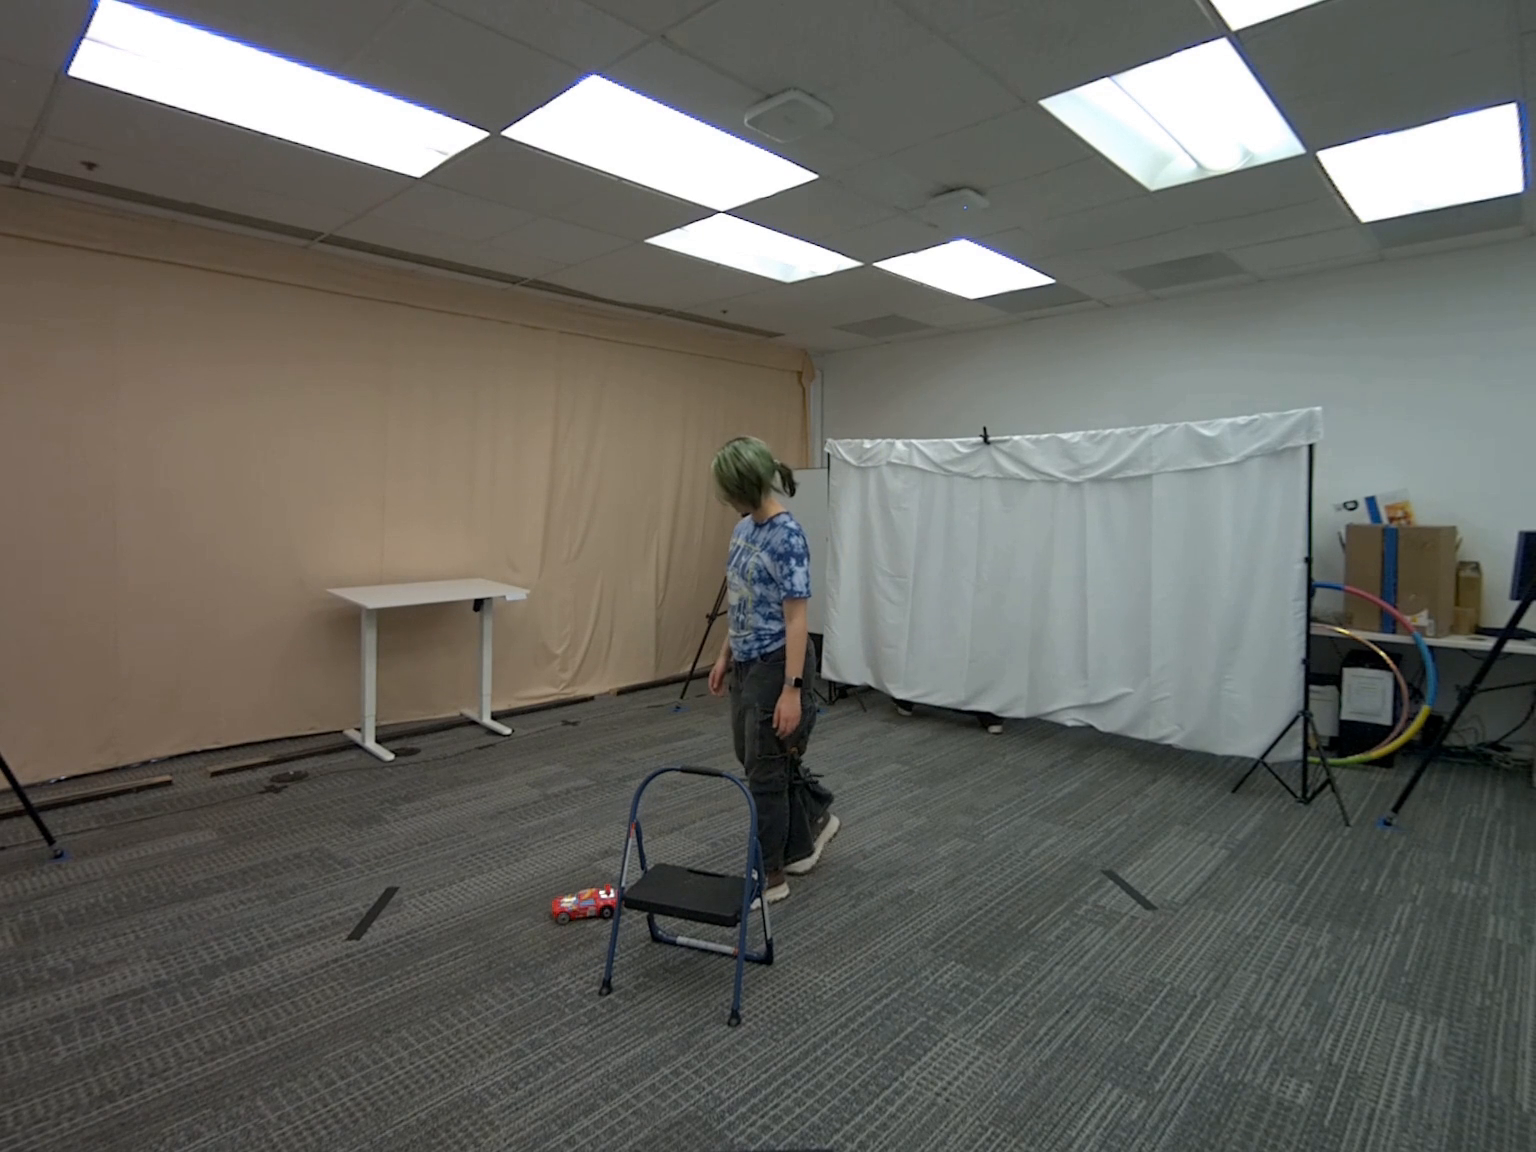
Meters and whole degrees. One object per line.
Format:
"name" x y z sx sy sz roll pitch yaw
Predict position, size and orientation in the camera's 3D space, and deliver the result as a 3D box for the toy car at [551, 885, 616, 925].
"toy car" -0.615 1.128 2.880 0.252 0.083 0.132 -12 8 -12
